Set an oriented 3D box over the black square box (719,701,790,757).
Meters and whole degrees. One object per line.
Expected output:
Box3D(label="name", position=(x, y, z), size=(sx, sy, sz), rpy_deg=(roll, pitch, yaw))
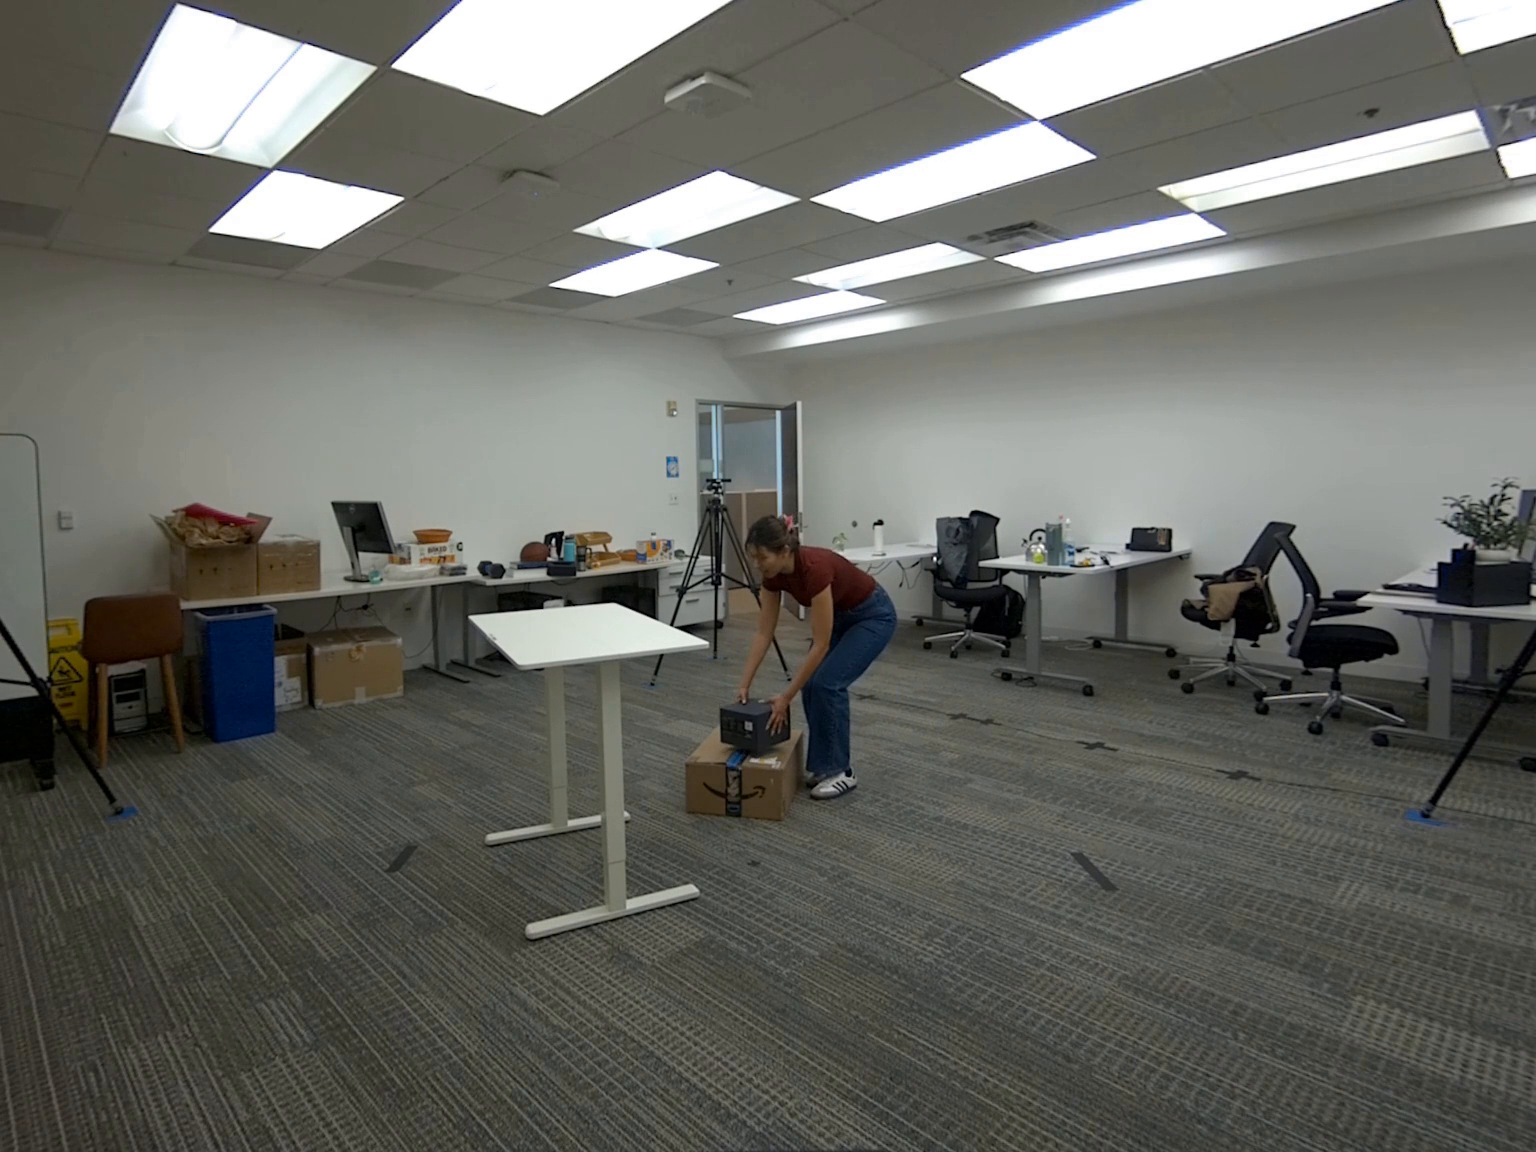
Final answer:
Box3D(label="black square box", position=(-0.059, 0.634, 3.727), size=(0.223, 0.155, 0.222), rpy_deg=(3, 5, 40))
